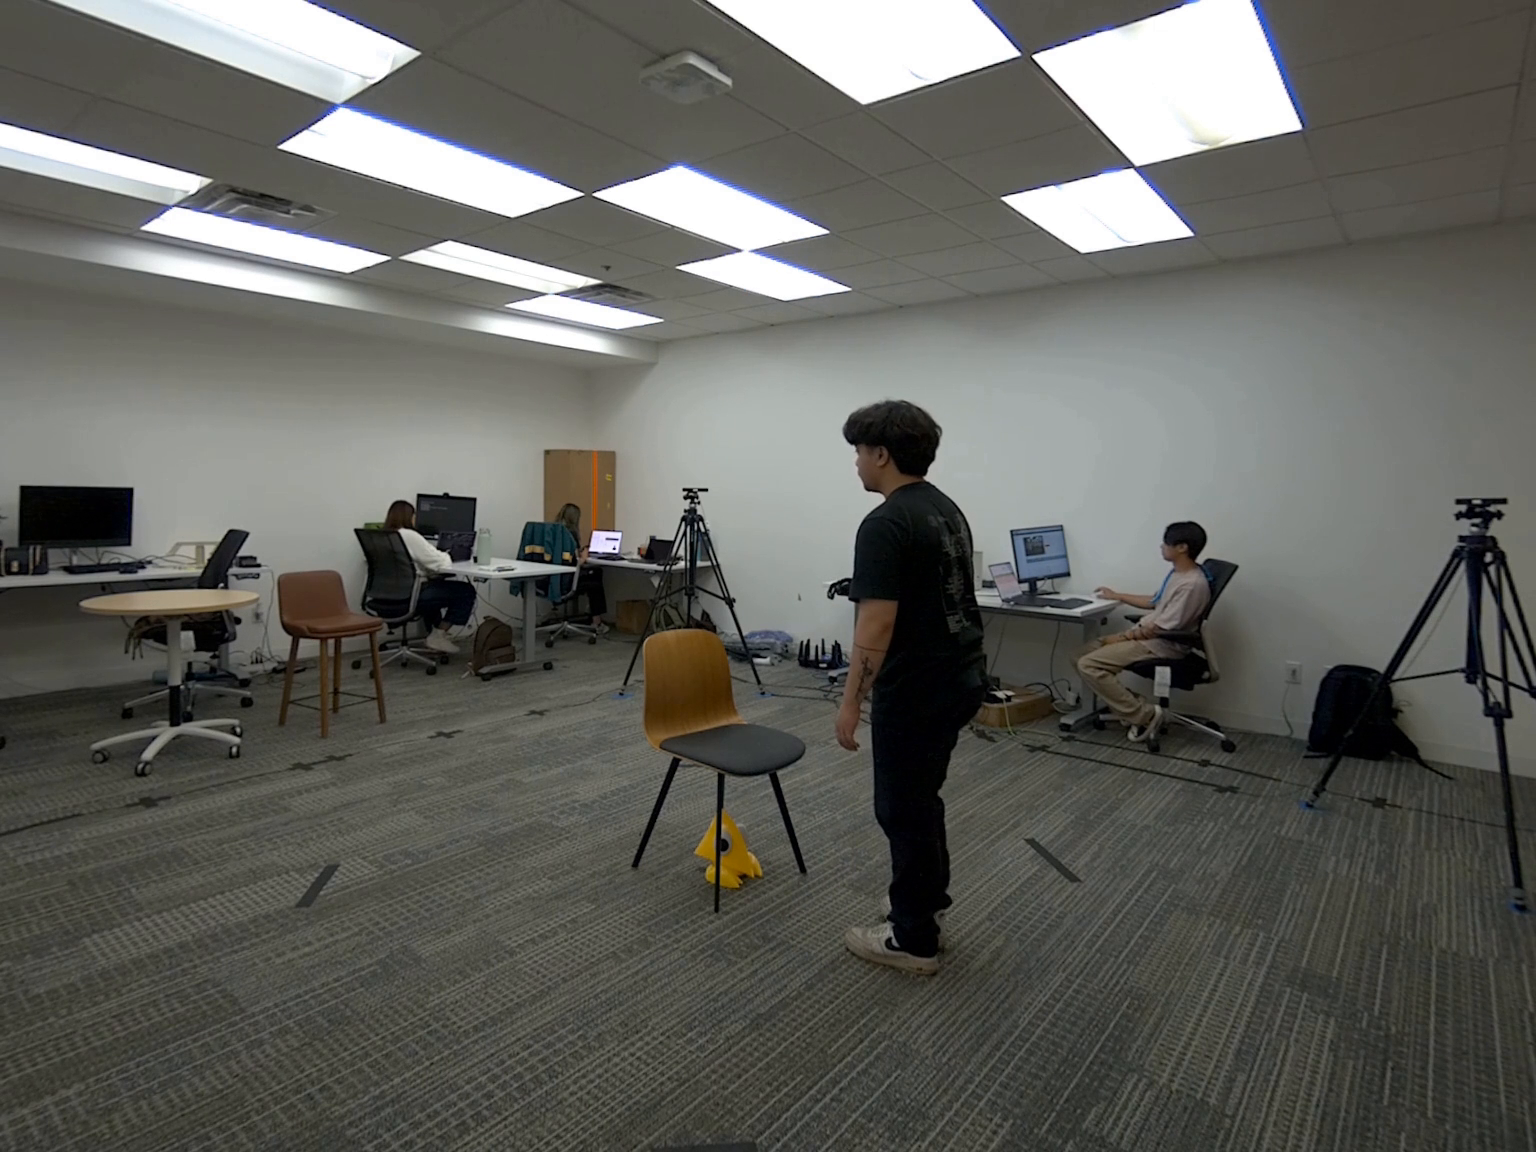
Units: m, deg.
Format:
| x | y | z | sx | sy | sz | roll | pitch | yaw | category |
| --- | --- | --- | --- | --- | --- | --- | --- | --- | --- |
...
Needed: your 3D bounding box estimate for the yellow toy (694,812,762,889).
| x | y | z | sx | sy | sz | roll | pitch | yaw | category |
| --- | --- | --- | --- | --- | --- | --- | --- | --- | --- |
| -0.137 | 0.963 | 3.070 | 0.200 | 0.230 | 0.199 | 5 | 6 | 41 | yellow toy |
